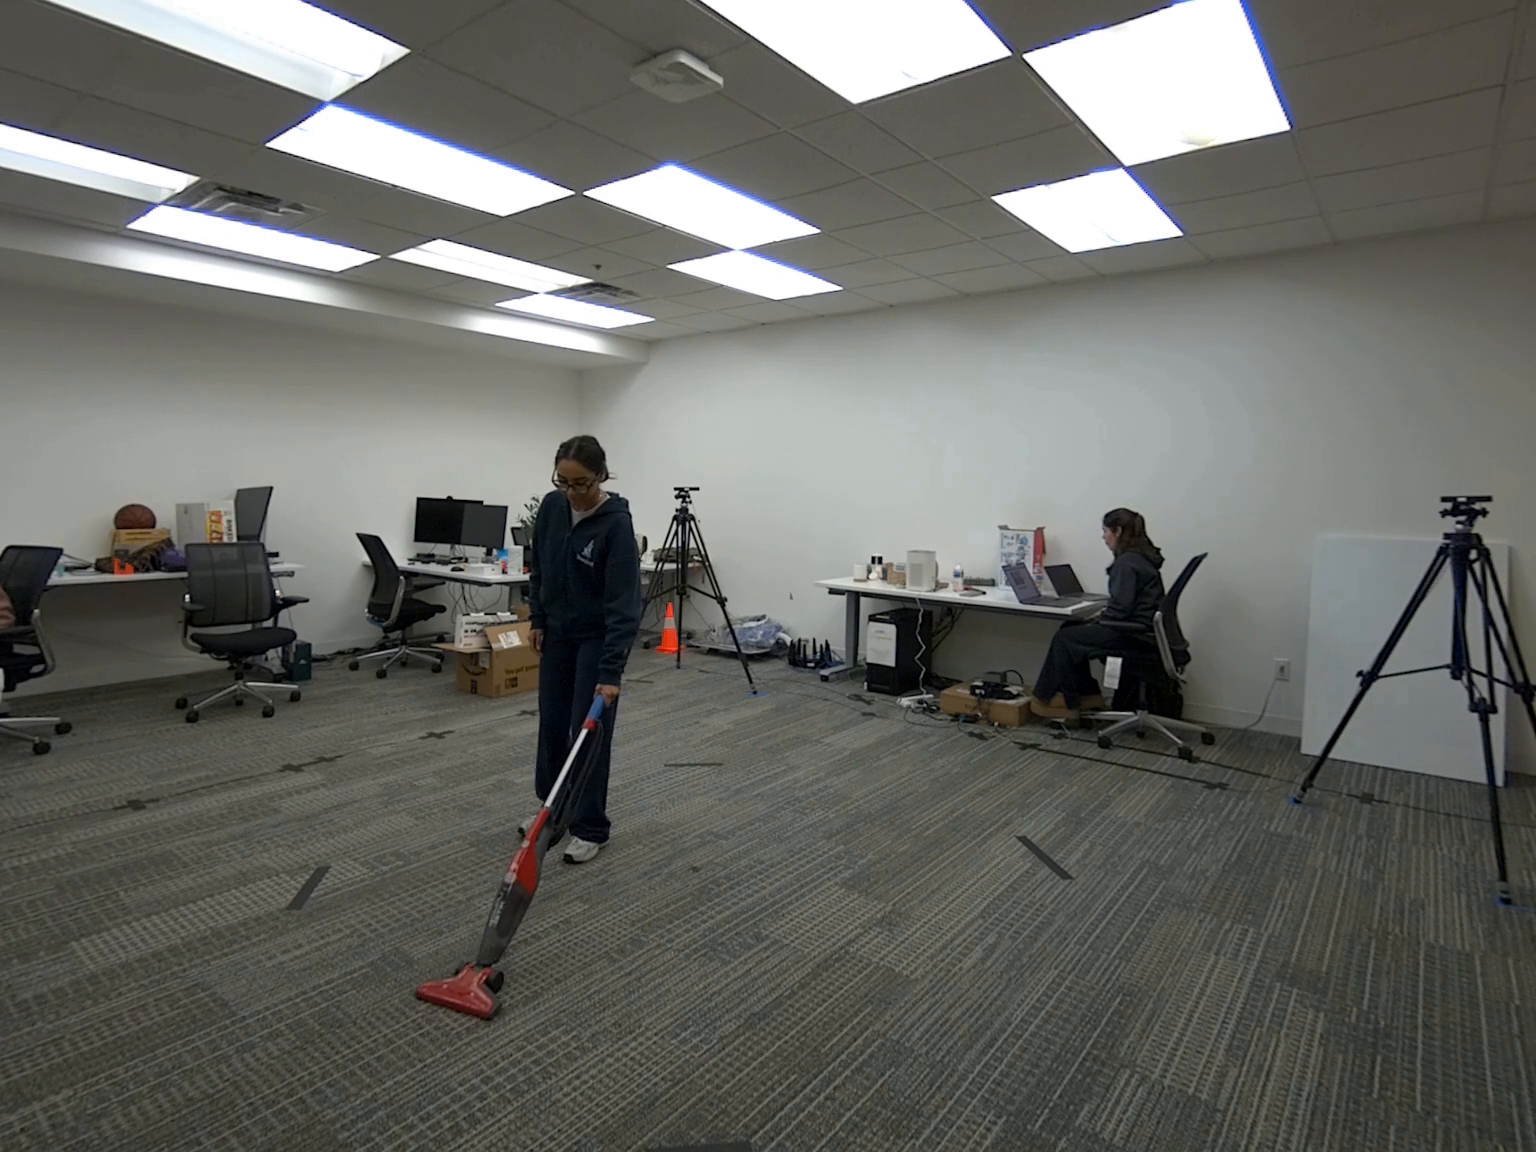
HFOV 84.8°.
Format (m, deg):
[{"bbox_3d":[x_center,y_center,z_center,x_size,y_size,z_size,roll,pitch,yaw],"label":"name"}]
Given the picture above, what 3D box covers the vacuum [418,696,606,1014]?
[{"bbox_3d":[-0.687,0.755,2.681,0.257,0.139,1.066,4,45,15],"label":"vacuum"}]
